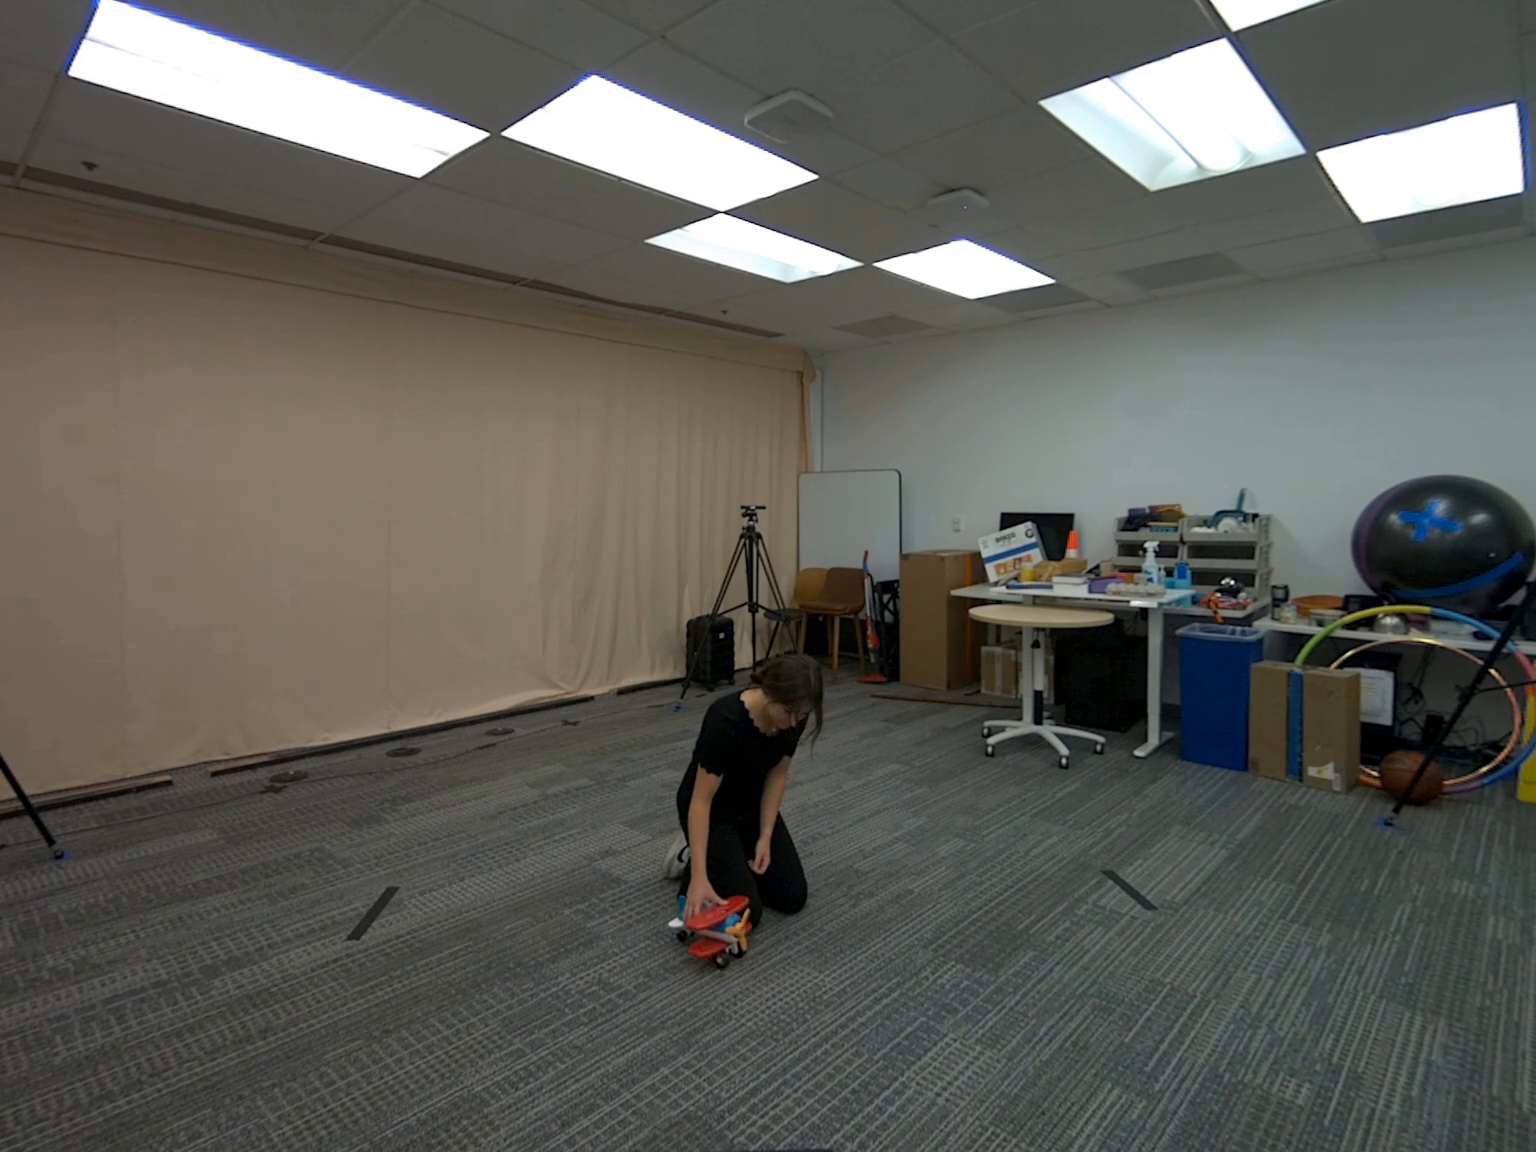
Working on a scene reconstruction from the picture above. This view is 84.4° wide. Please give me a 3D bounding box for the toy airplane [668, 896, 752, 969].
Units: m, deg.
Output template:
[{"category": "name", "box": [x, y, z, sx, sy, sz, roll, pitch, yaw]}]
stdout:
[{"category": "toy airplane", "box": [-0.181, 1.090, 2.603, 0.262, 0.156, 0.249, 6, 7, 8]}]
